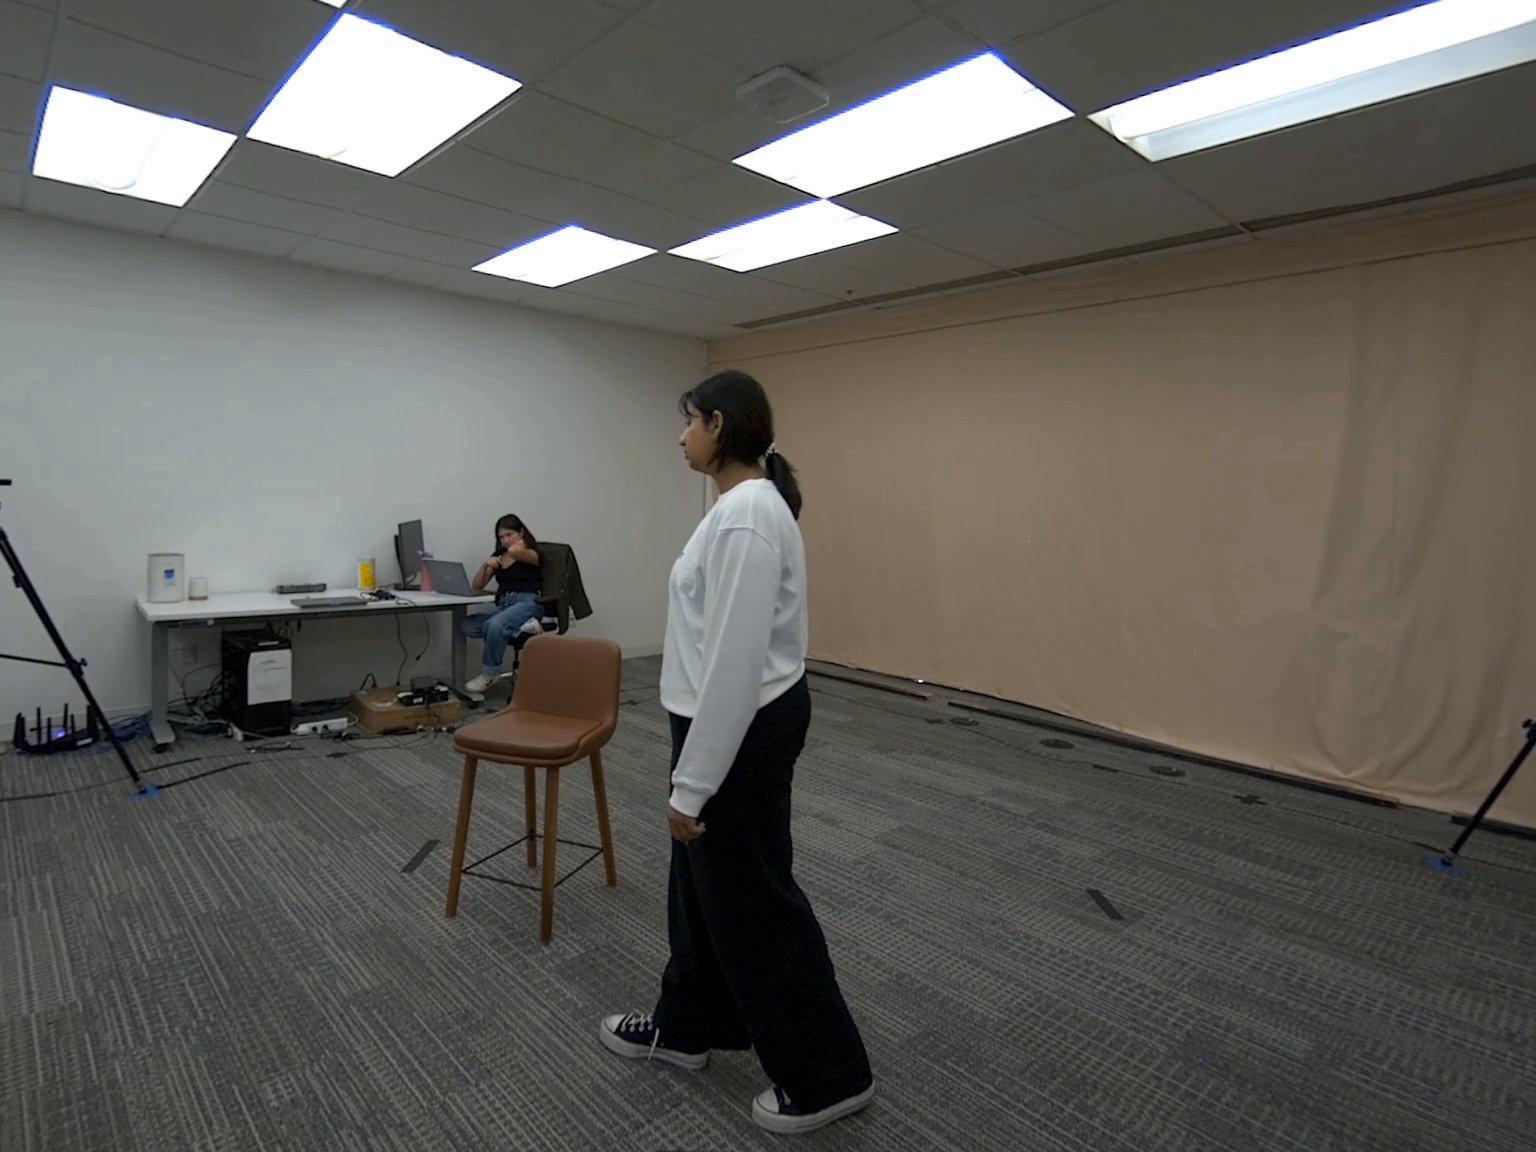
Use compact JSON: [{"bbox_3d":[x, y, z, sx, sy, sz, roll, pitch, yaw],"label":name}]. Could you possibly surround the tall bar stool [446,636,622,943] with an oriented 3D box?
[{"bbox_3d":[-0.787,0.681,2.866,0.465,0.888,0.460,3,2,23],"label":"tall bar stool"}]
